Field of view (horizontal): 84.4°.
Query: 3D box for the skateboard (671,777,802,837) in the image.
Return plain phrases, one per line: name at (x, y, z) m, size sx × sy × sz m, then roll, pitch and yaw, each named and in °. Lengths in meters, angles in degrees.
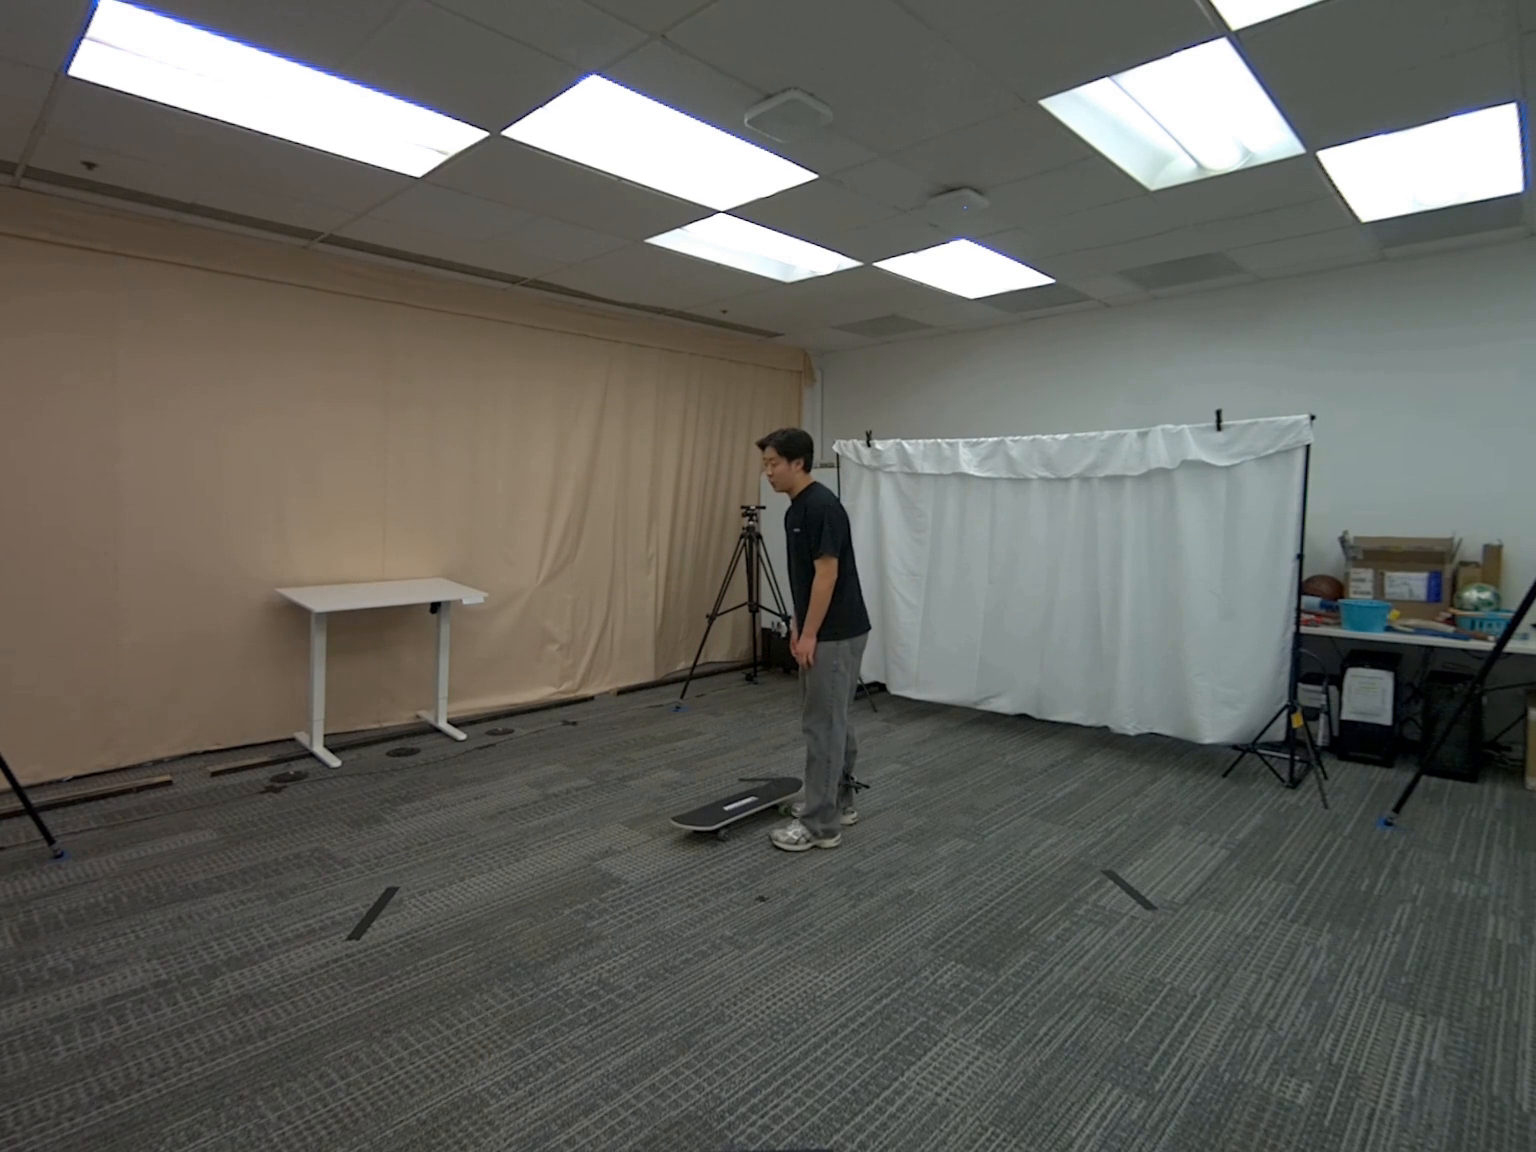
skateboard at (-0.114, 1.029, 3.696) m, size 0.200 × 0.110 × 0.761 m, roll 2°, pitch 5°, yaw 43°
